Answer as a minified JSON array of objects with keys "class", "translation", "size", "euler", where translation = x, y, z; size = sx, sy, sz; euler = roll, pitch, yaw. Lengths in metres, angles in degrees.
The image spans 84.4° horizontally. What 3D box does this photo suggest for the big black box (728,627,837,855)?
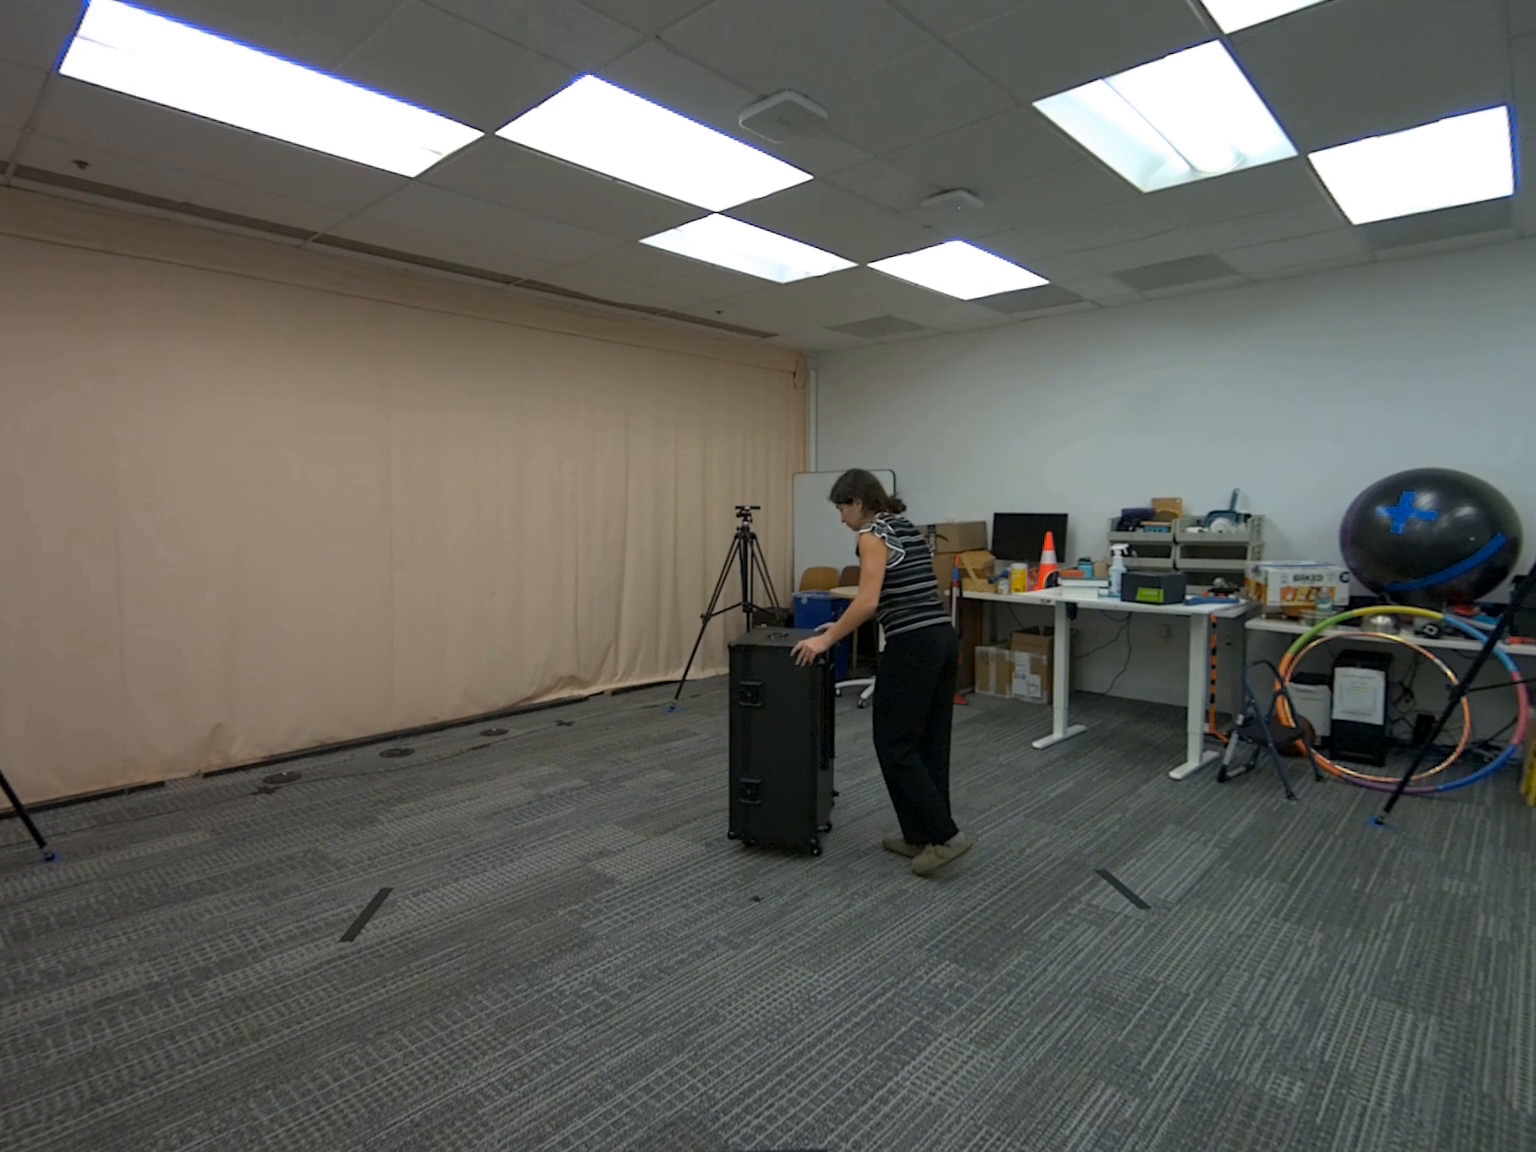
[{"class":"big black box","translation":[0.081,0.675,3.512],"size":[0.403,0.860,0.514],"euler":[1,3,14]}]
